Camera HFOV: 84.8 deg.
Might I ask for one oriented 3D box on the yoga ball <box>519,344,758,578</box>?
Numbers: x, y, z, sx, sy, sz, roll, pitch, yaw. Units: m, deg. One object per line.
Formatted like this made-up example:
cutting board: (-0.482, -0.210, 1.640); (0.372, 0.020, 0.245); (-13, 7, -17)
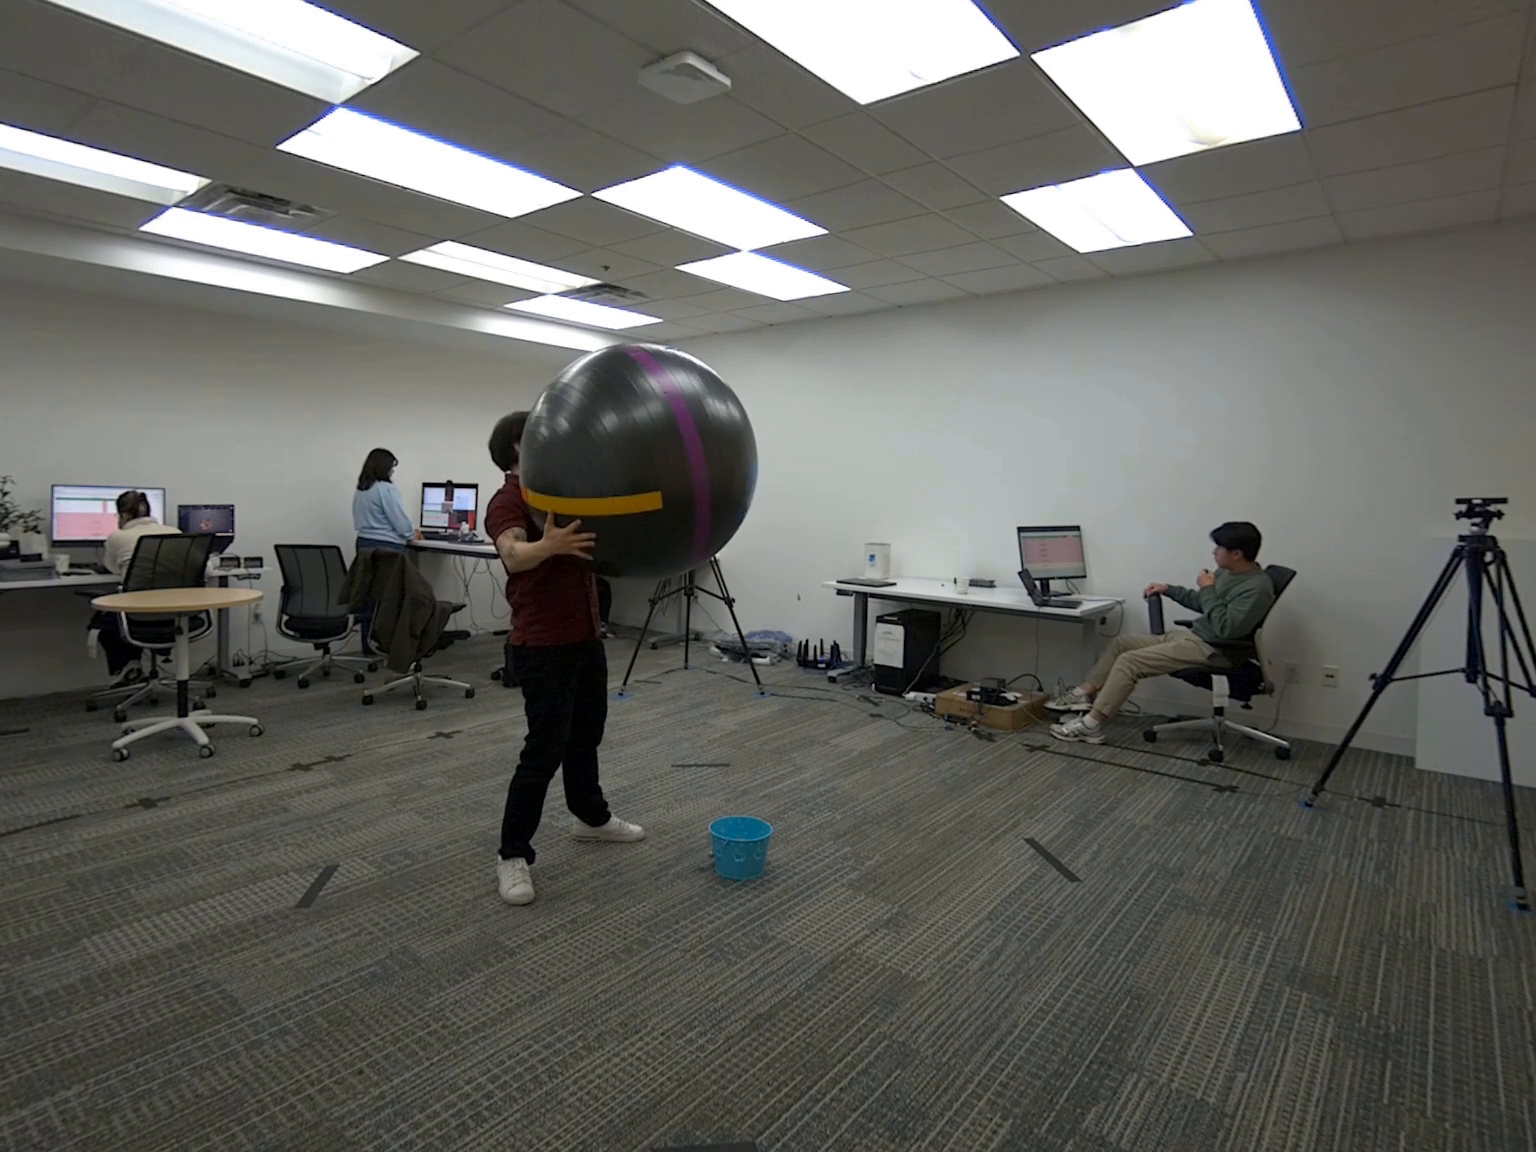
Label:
yoga ball: (-0.421, -0.356, 2.718); (0.757, 0.756, 0.762); (1, 4, -2)
